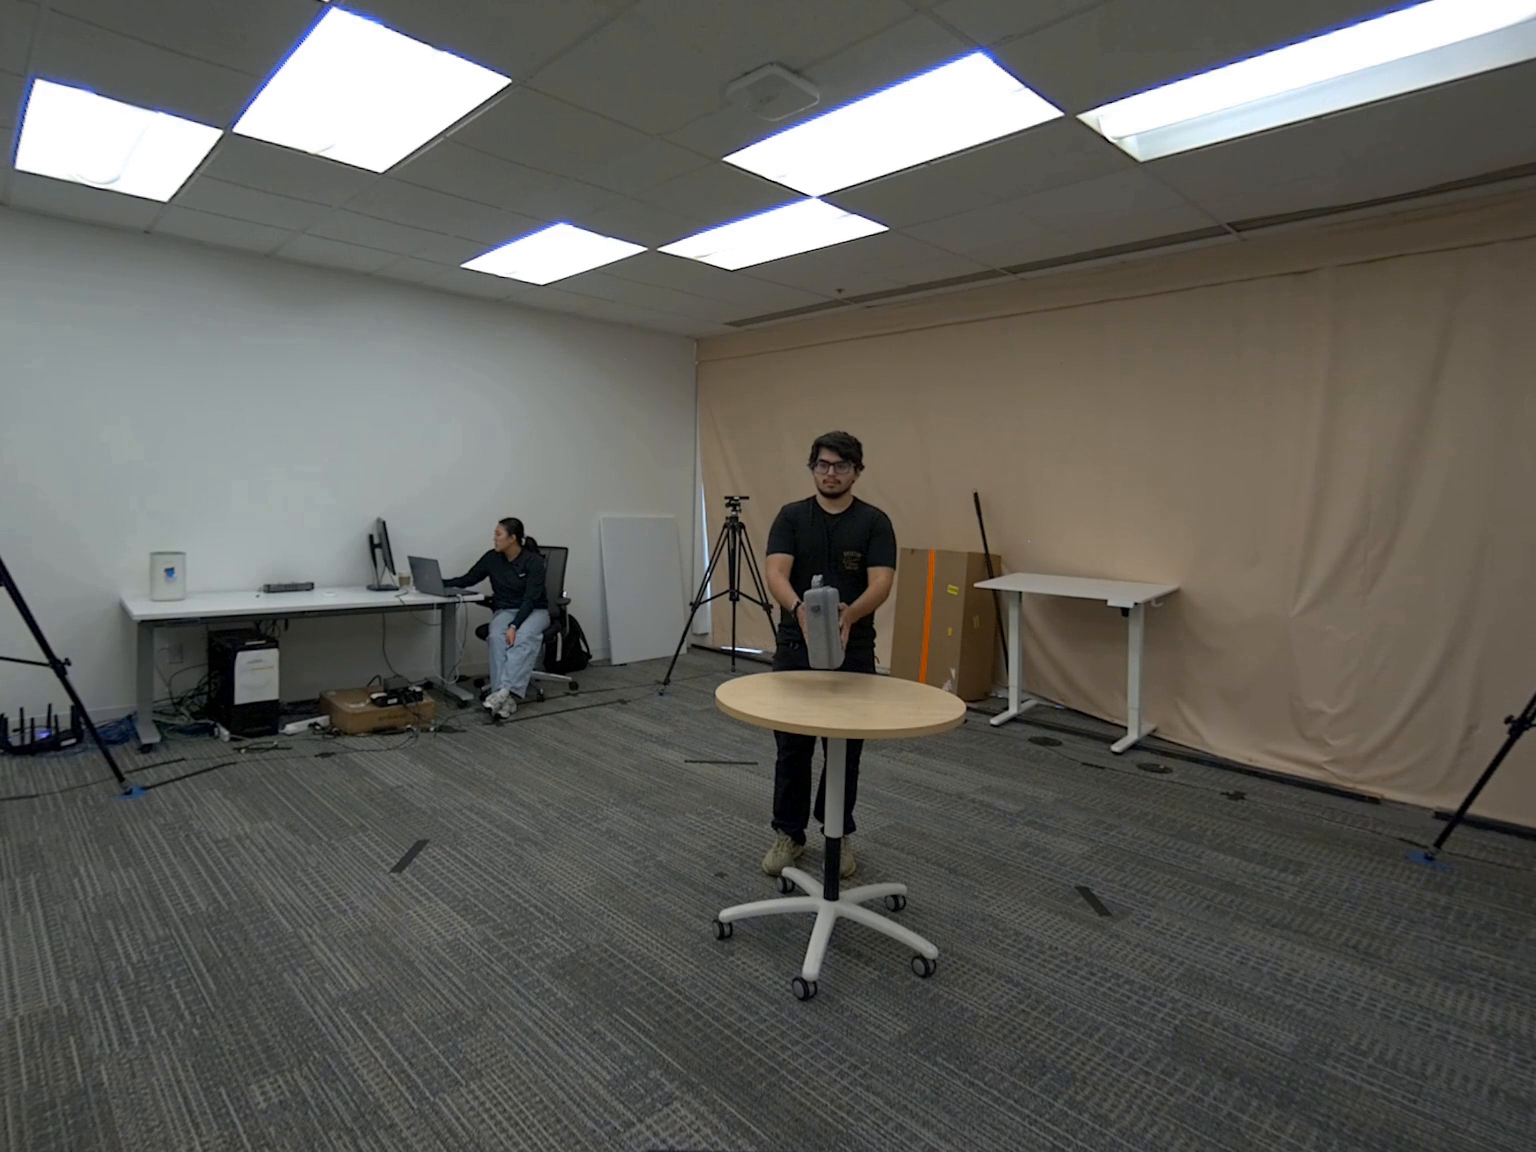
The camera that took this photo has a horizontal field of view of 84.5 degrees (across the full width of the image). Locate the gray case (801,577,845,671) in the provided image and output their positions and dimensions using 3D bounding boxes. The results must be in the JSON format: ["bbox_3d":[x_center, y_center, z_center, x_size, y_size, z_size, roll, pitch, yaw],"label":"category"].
[{"bbox_3d":[0.173,0.167,2.730,0.105,0.261,0.255,-5,-2,5],"label":"gray case"}]
